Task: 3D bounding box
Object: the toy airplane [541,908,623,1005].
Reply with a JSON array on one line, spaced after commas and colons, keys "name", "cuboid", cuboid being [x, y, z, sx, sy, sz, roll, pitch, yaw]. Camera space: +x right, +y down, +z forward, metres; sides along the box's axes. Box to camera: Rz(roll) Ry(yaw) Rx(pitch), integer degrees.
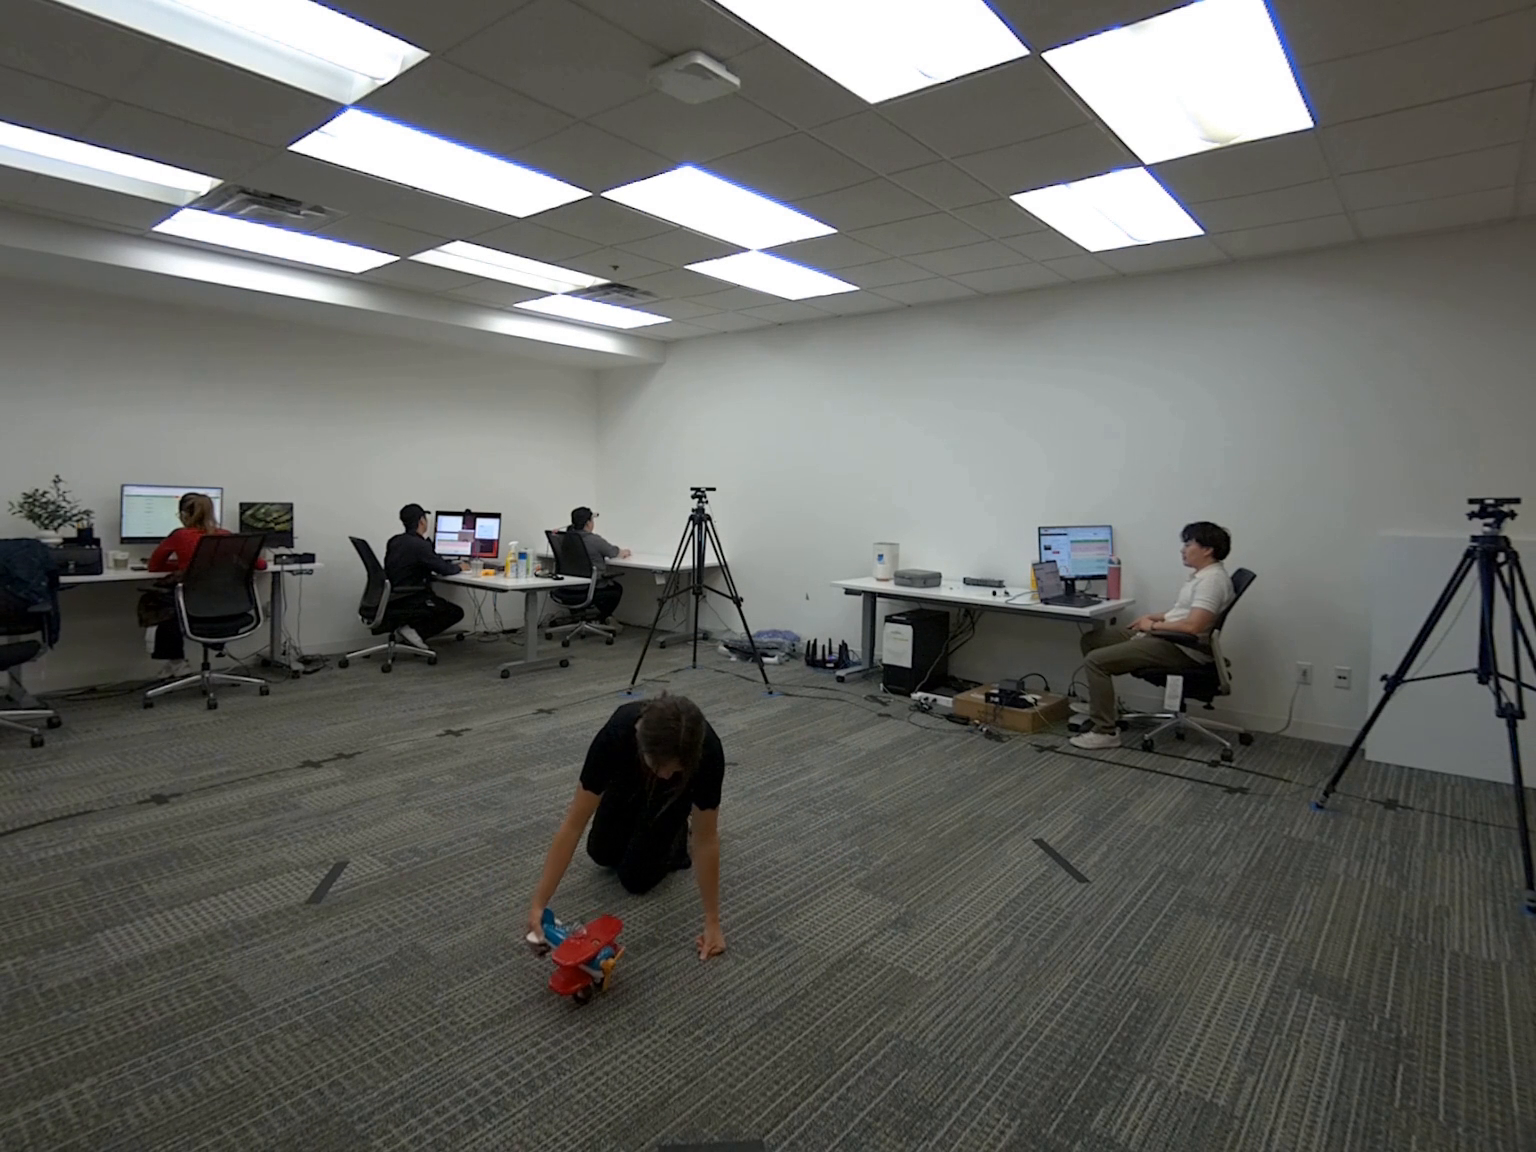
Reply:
[{"name": "toy airplane", "cuboid": [-0.548, 1.036, 2.330, 0.258, 0.155, 0.254, 21, 16, -6]}]
